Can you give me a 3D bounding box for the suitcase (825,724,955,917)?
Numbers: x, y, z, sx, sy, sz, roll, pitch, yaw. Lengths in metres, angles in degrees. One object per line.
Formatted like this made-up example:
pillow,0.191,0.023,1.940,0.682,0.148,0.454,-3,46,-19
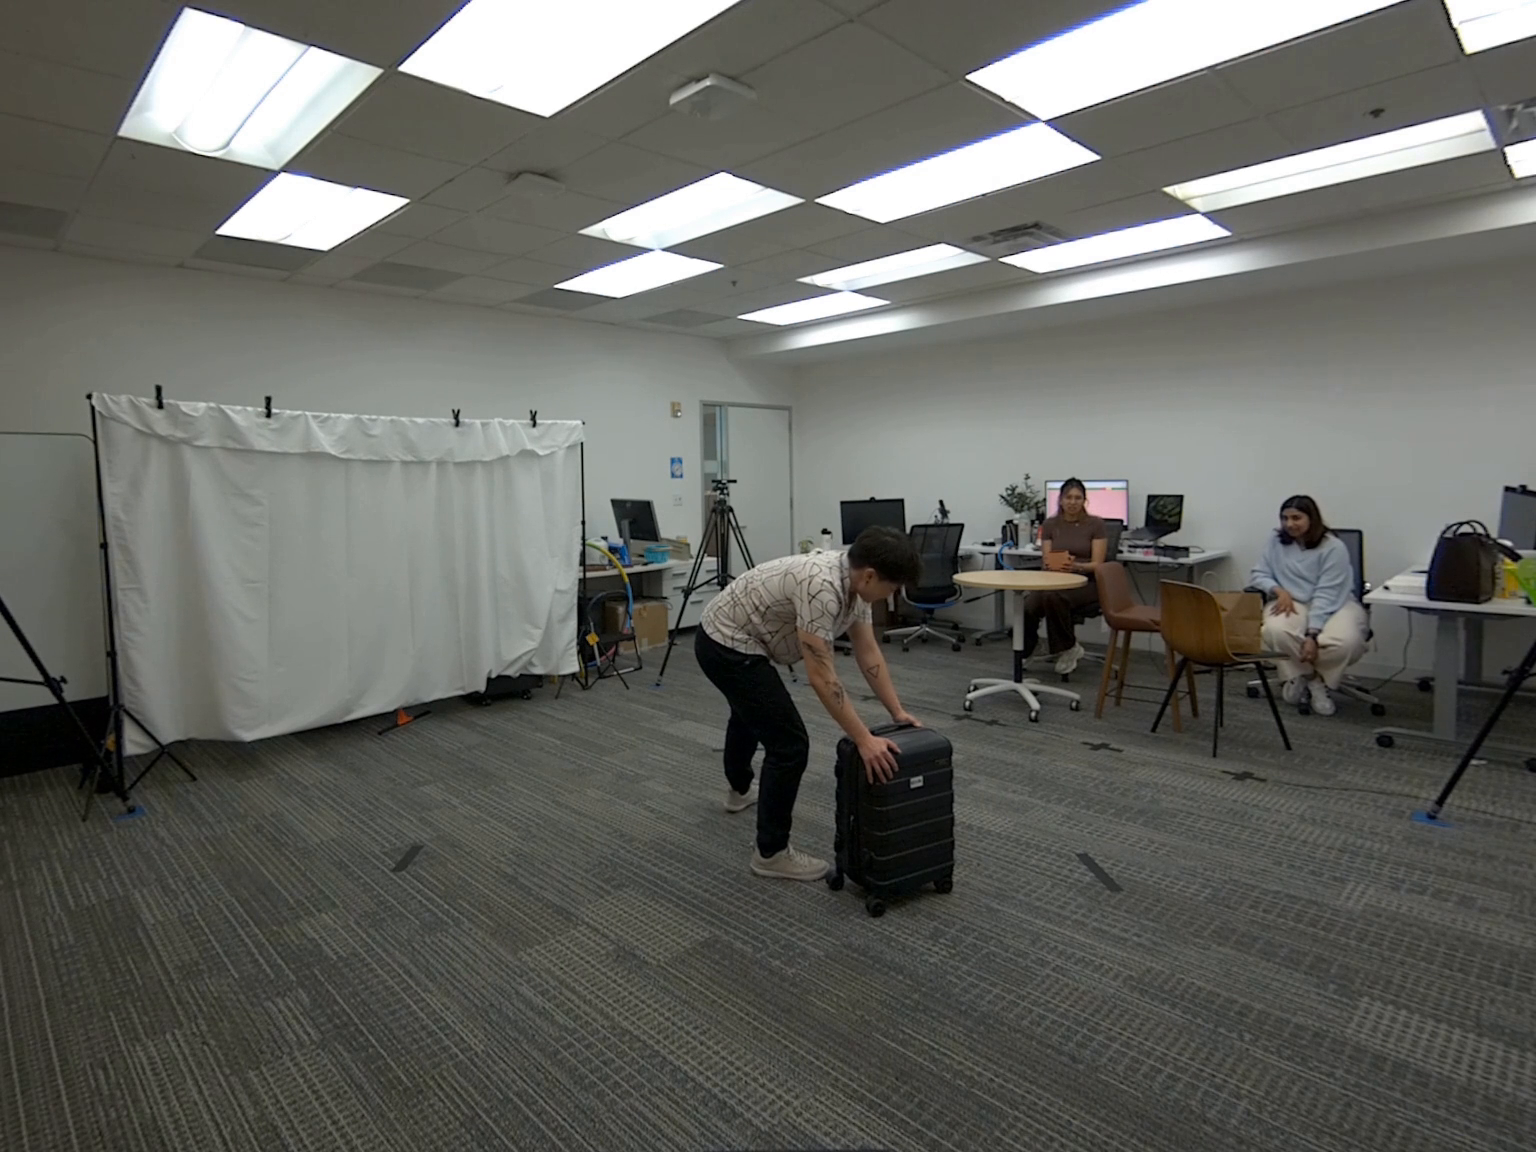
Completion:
suitcase,0.433,0.790,2.886,0.366,0.548,0.255,-1,3,-30
